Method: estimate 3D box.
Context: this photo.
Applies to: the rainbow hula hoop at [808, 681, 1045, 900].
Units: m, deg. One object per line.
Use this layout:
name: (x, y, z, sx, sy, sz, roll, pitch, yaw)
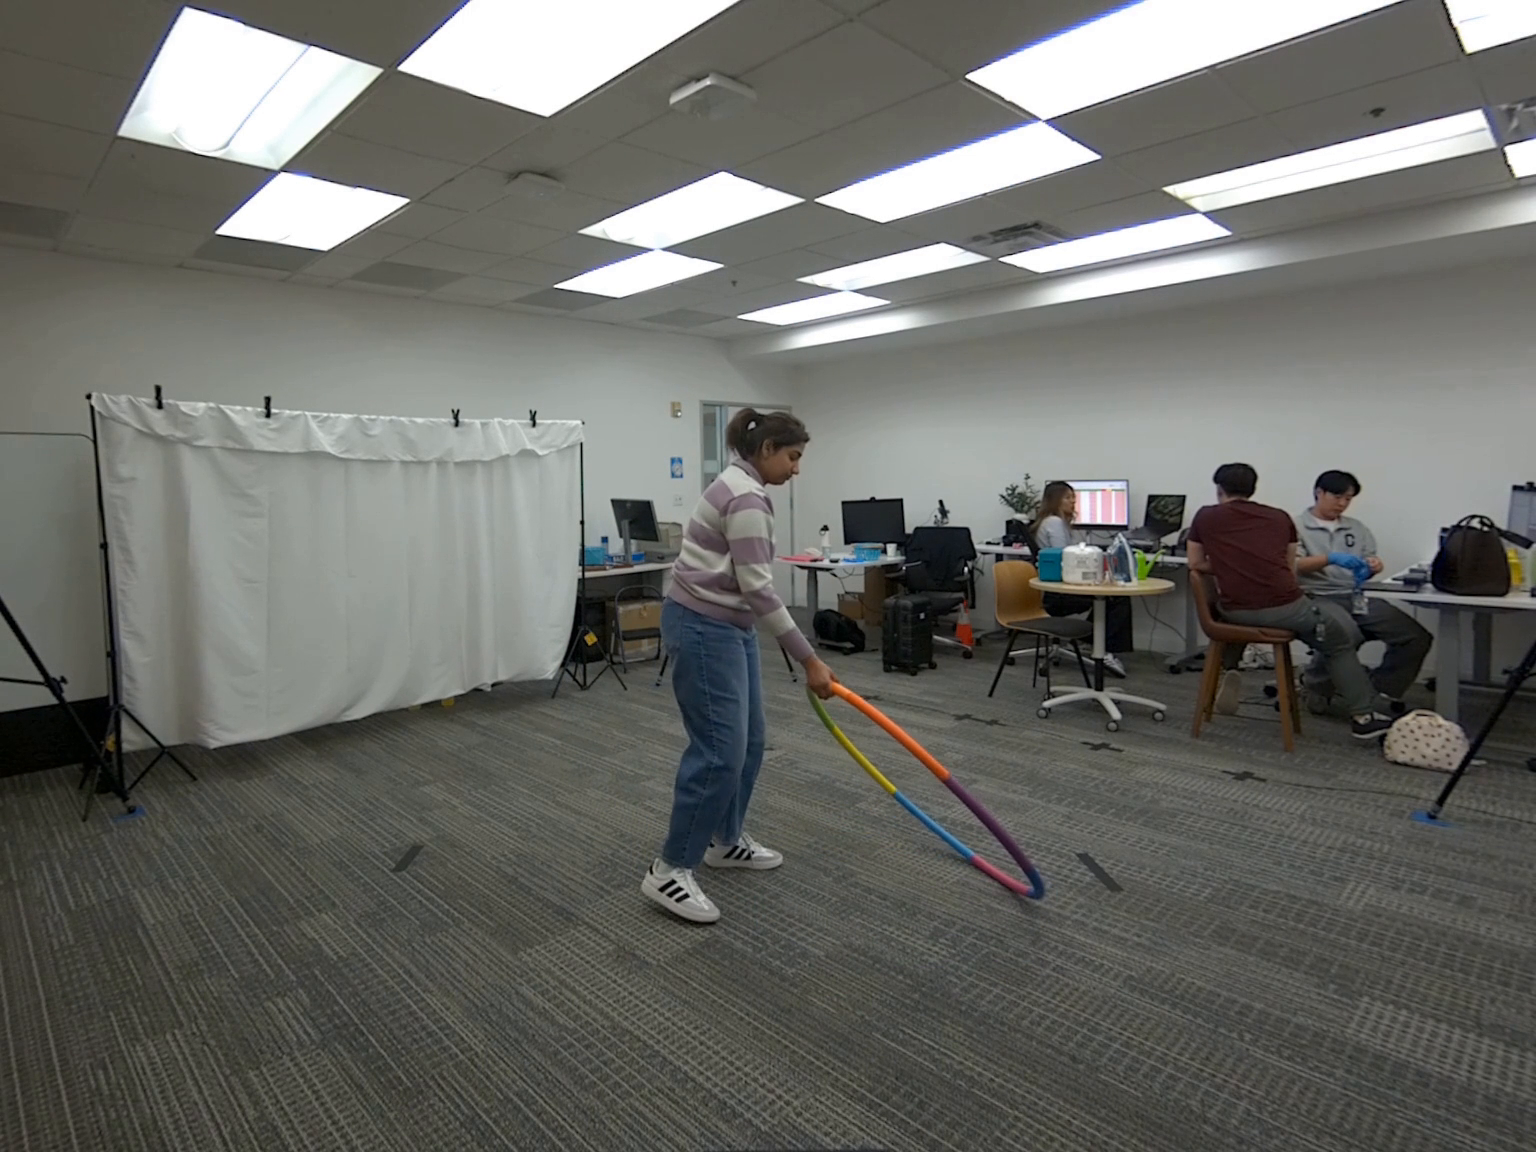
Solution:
rainbow hula hoop: (0.496, 0.693, 2.846, 0.035, 0.958, 1.001, -45, 18, -13)
